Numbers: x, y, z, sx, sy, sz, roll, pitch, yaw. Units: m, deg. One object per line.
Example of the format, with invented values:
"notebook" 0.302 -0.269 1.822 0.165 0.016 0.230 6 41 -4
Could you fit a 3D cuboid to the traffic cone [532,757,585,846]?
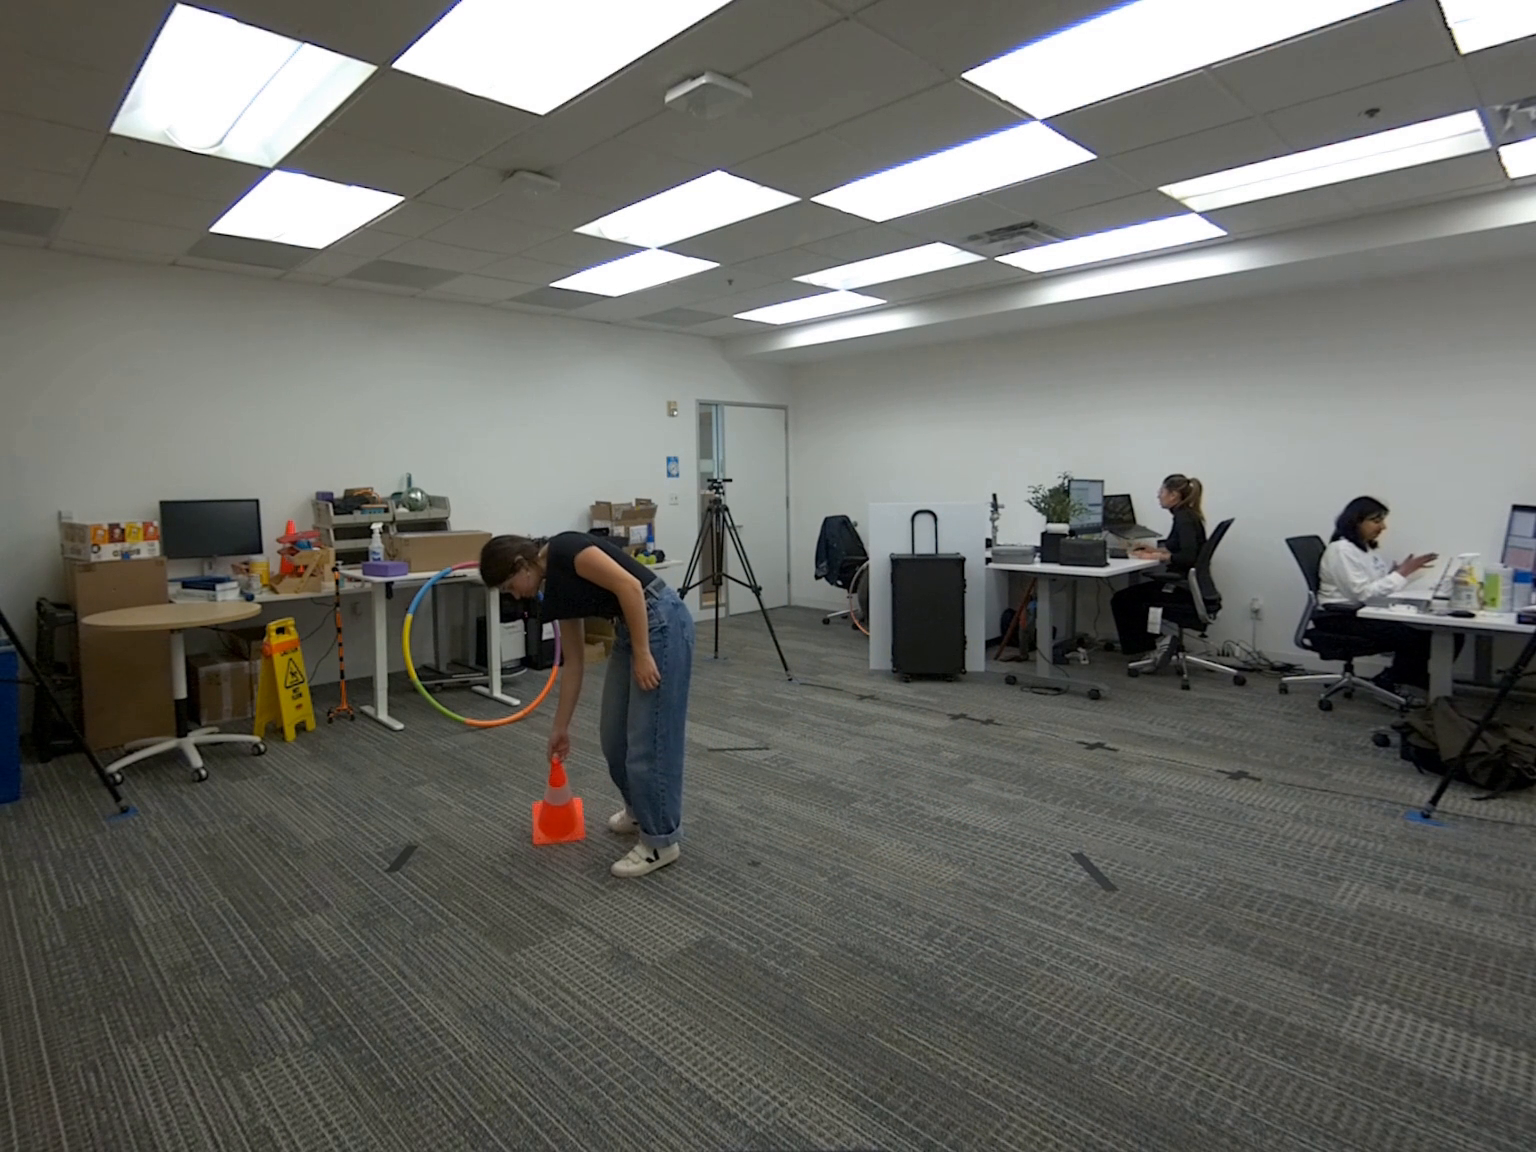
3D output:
"traffic cone" -0.804 0.827 3.302 0.201 0.375 0.211 2 37 -10
